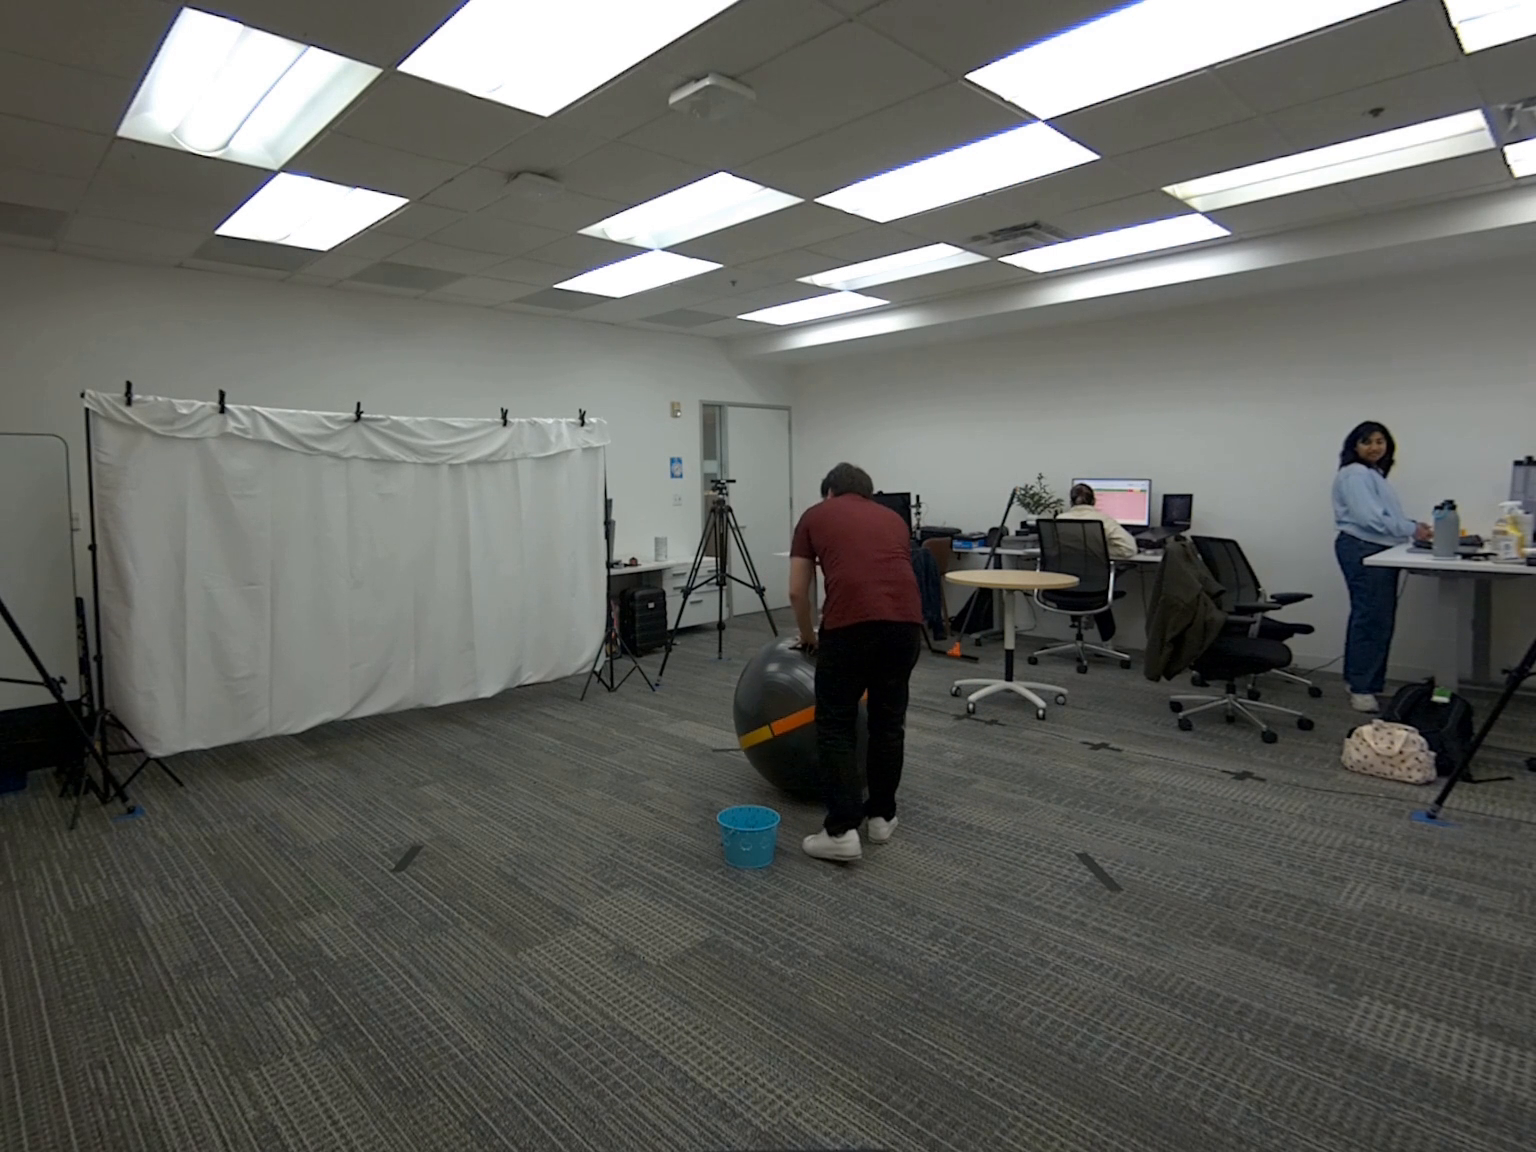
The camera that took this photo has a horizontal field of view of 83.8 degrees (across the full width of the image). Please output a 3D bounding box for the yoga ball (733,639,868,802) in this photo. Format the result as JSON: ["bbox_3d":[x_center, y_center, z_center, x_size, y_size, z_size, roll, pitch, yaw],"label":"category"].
[{"bbox_3d":[0.230,0.606,3.807,0.757,0.755,0.762,-1,5,-2],"label":"yoga ball"}]
